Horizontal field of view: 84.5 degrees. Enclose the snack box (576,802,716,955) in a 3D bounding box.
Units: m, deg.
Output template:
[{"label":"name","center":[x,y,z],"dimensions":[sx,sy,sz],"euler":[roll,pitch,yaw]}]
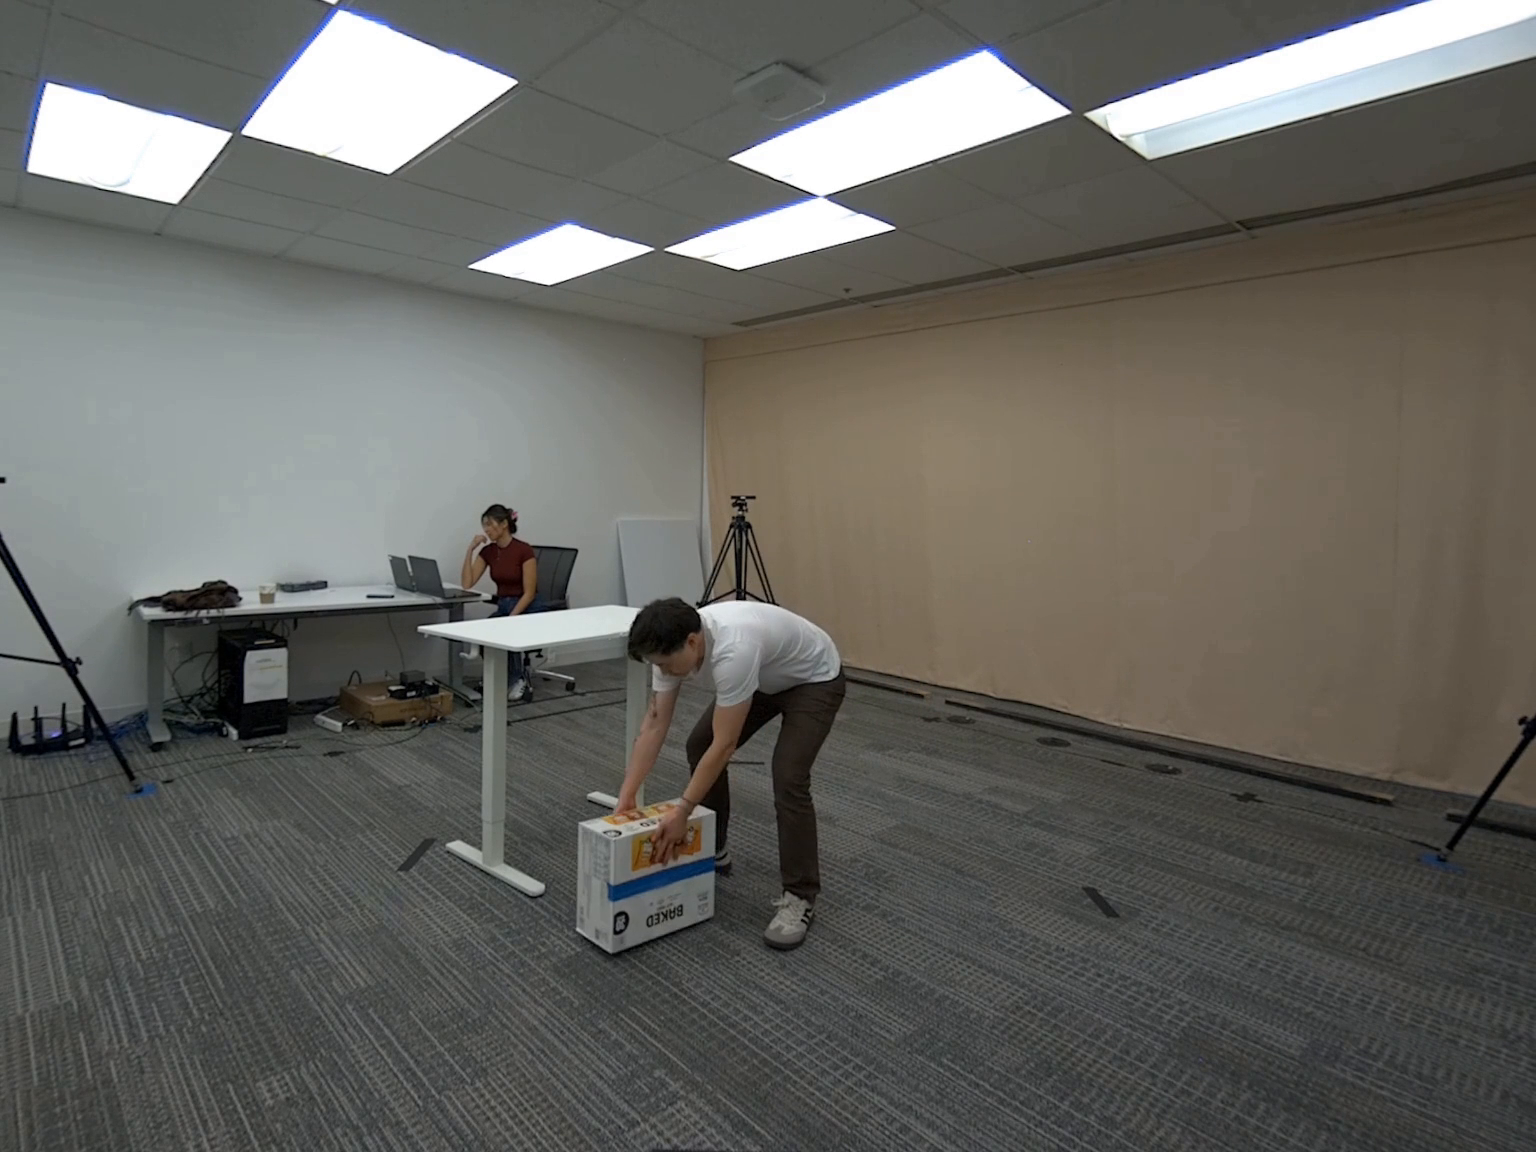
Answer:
[{"label":"snack box","center":[-0.408,0.916,2.679],"dimensions":[0.395,0.340,0.211],"euler":[2,0,-43]}]
